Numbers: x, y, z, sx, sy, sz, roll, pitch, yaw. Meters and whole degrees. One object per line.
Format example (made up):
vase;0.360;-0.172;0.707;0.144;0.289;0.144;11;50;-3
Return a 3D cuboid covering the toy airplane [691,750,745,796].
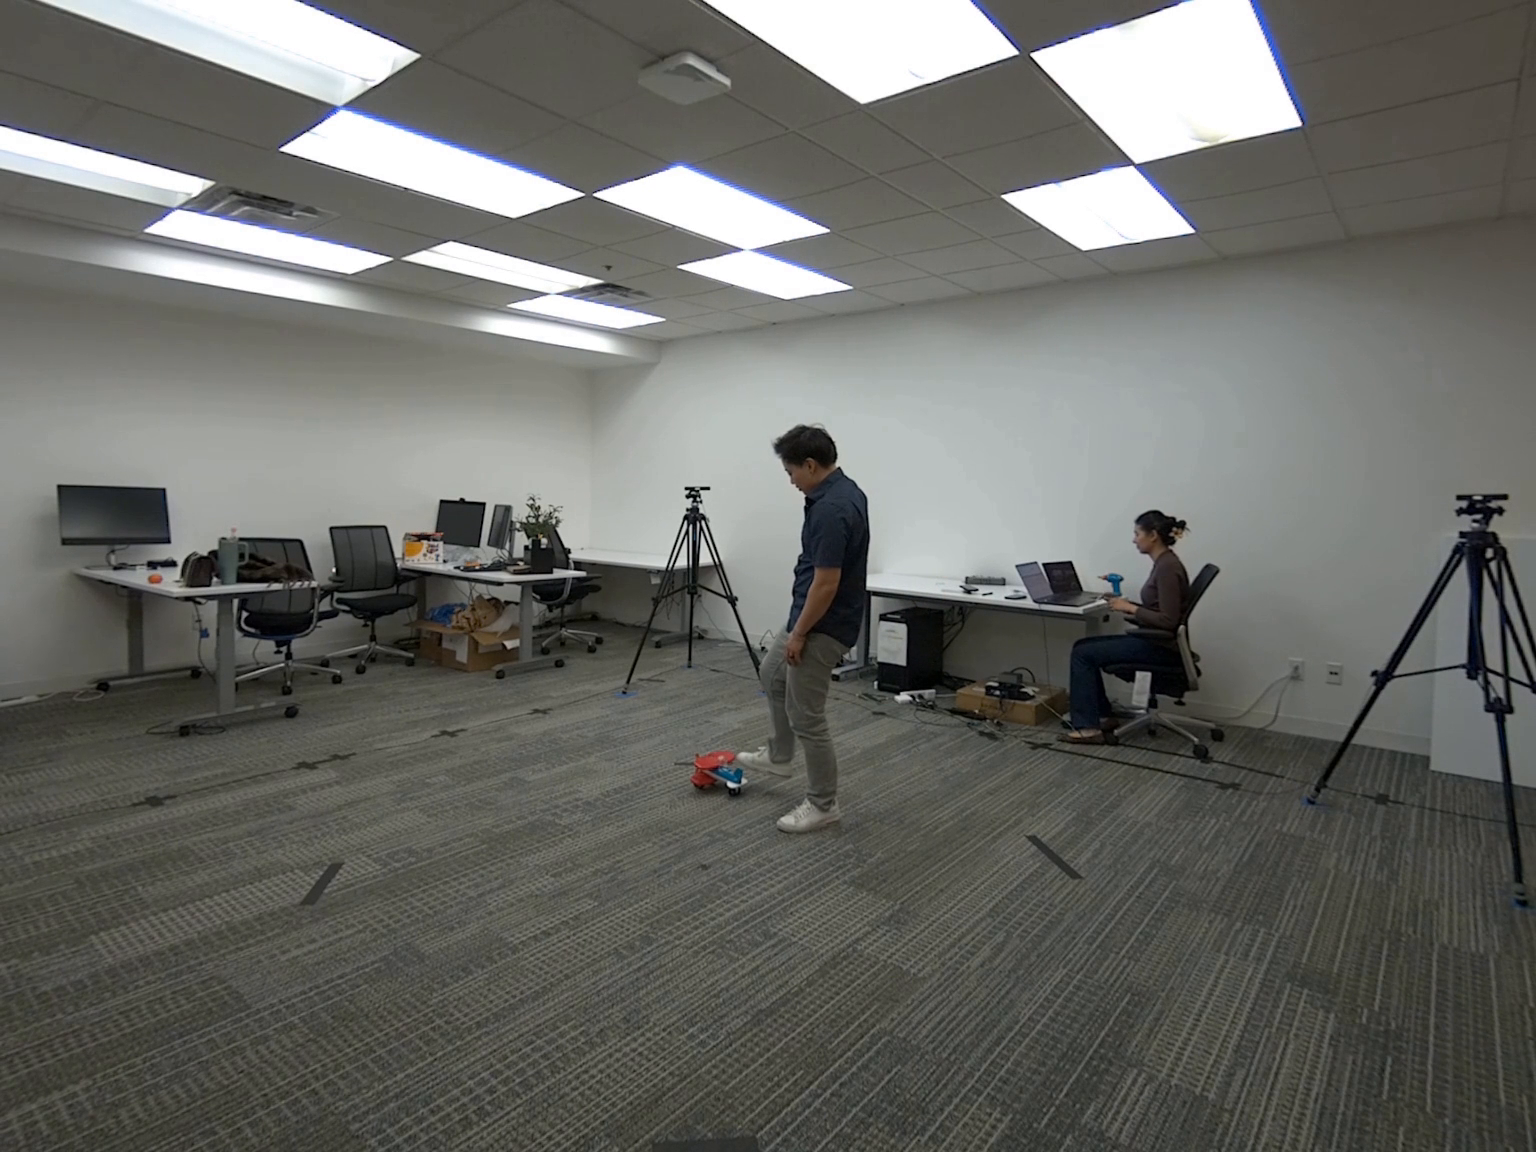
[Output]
toy airplane;-0.226;0.910;3.940;0.262;0.156;0.249;1;3;10
